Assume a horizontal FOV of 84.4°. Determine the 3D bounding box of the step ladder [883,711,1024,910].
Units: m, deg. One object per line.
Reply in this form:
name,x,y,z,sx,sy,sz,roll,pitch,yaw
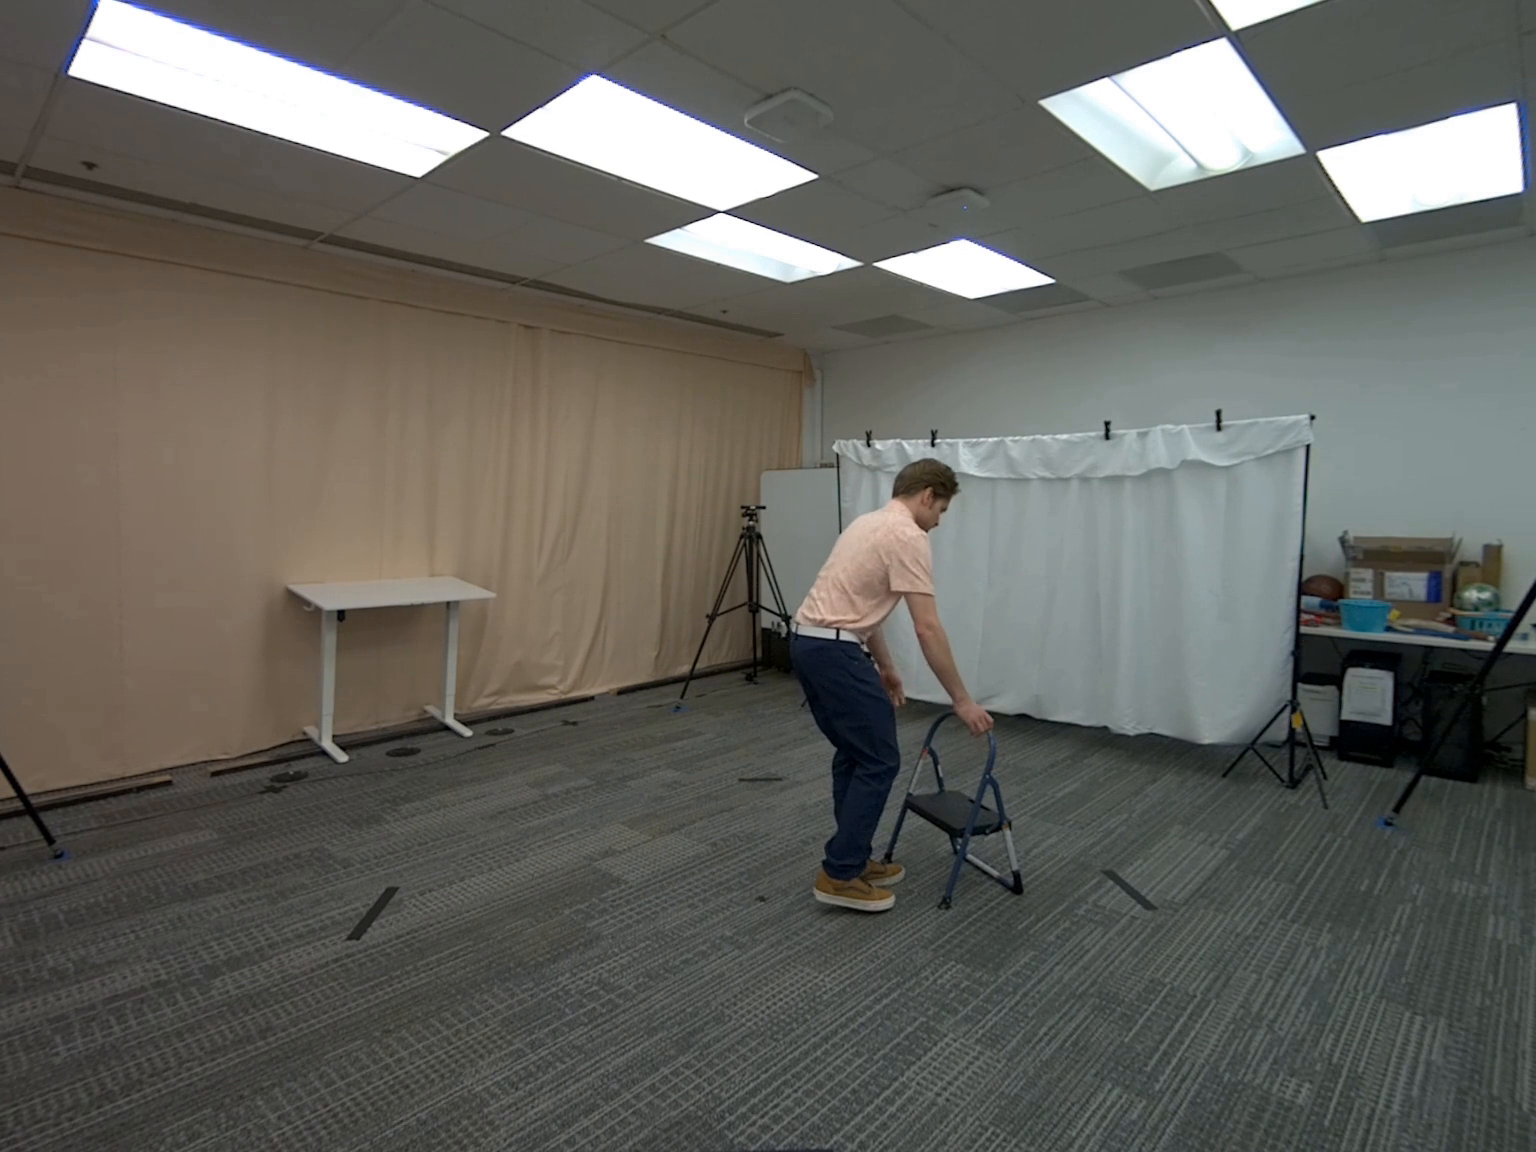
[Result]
step ladder,0.685,0.826,3.134,0.342,0.605,0.440,-1,3,-21
